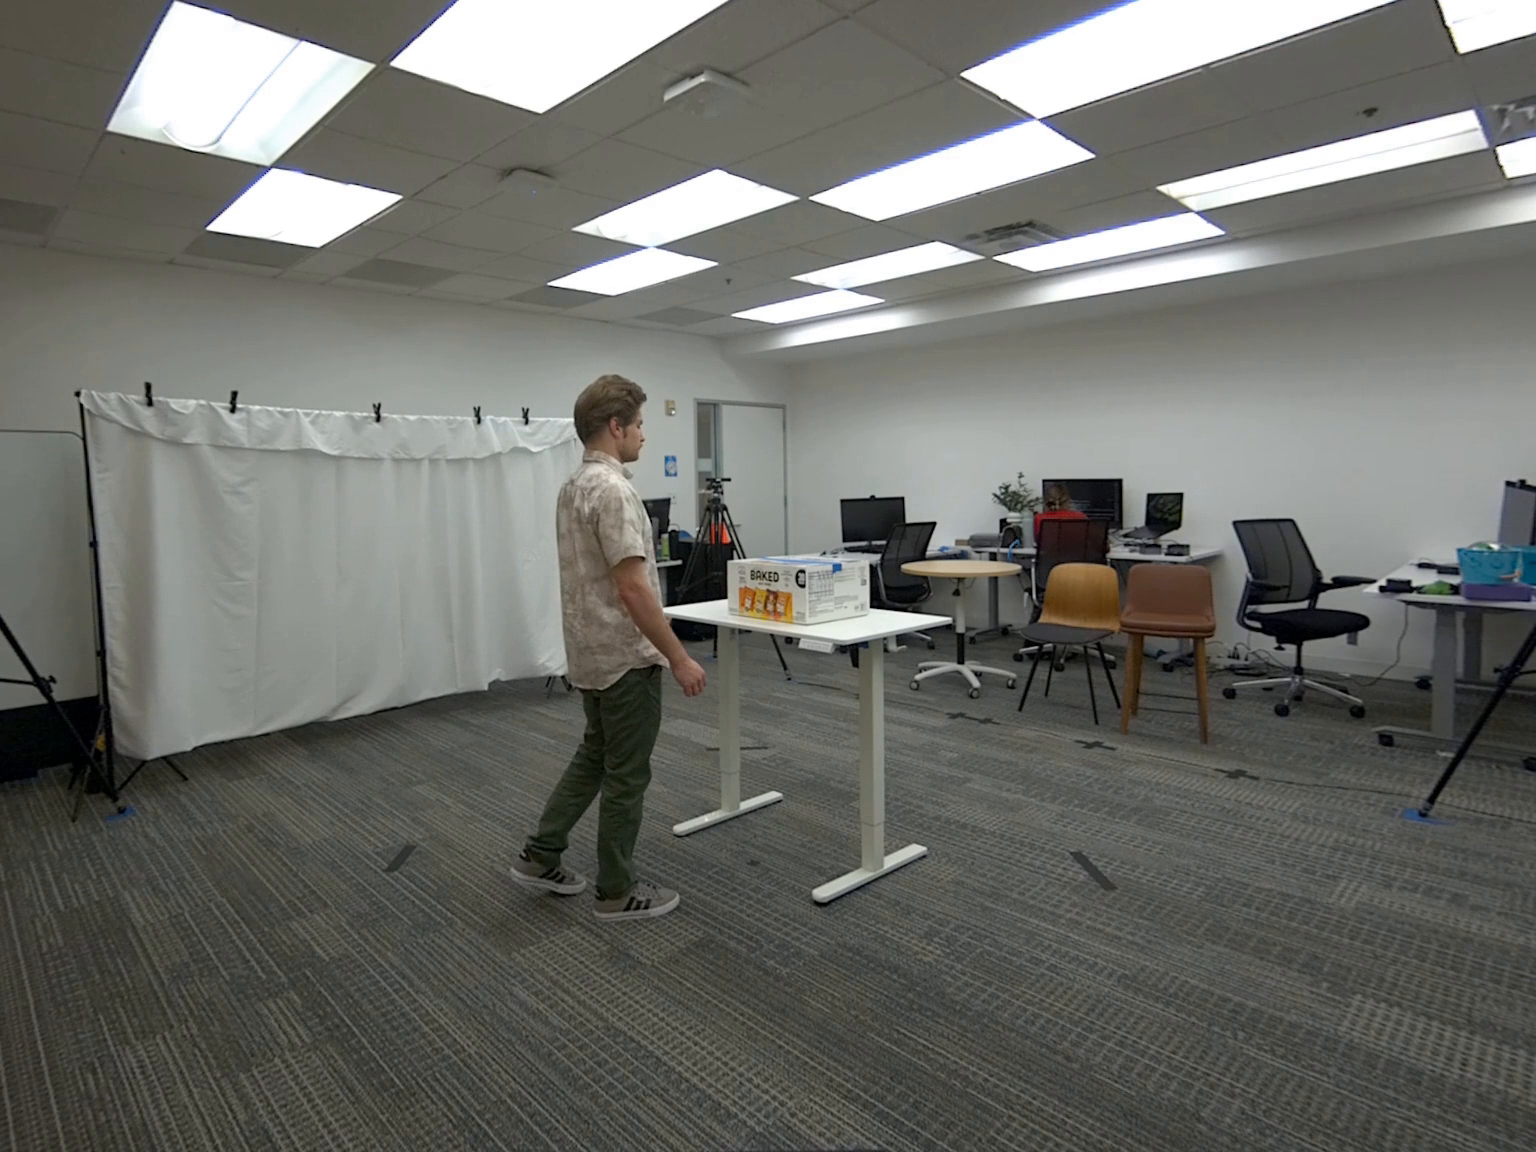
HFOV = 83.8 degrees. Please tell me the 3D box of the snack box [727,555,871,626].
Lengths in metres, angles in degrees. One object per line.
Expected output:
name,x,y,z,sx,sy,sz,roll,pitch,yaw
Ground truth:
snack box,0.113,0.044,3.186,0.331,0.205,0.418,-6,7,-43
